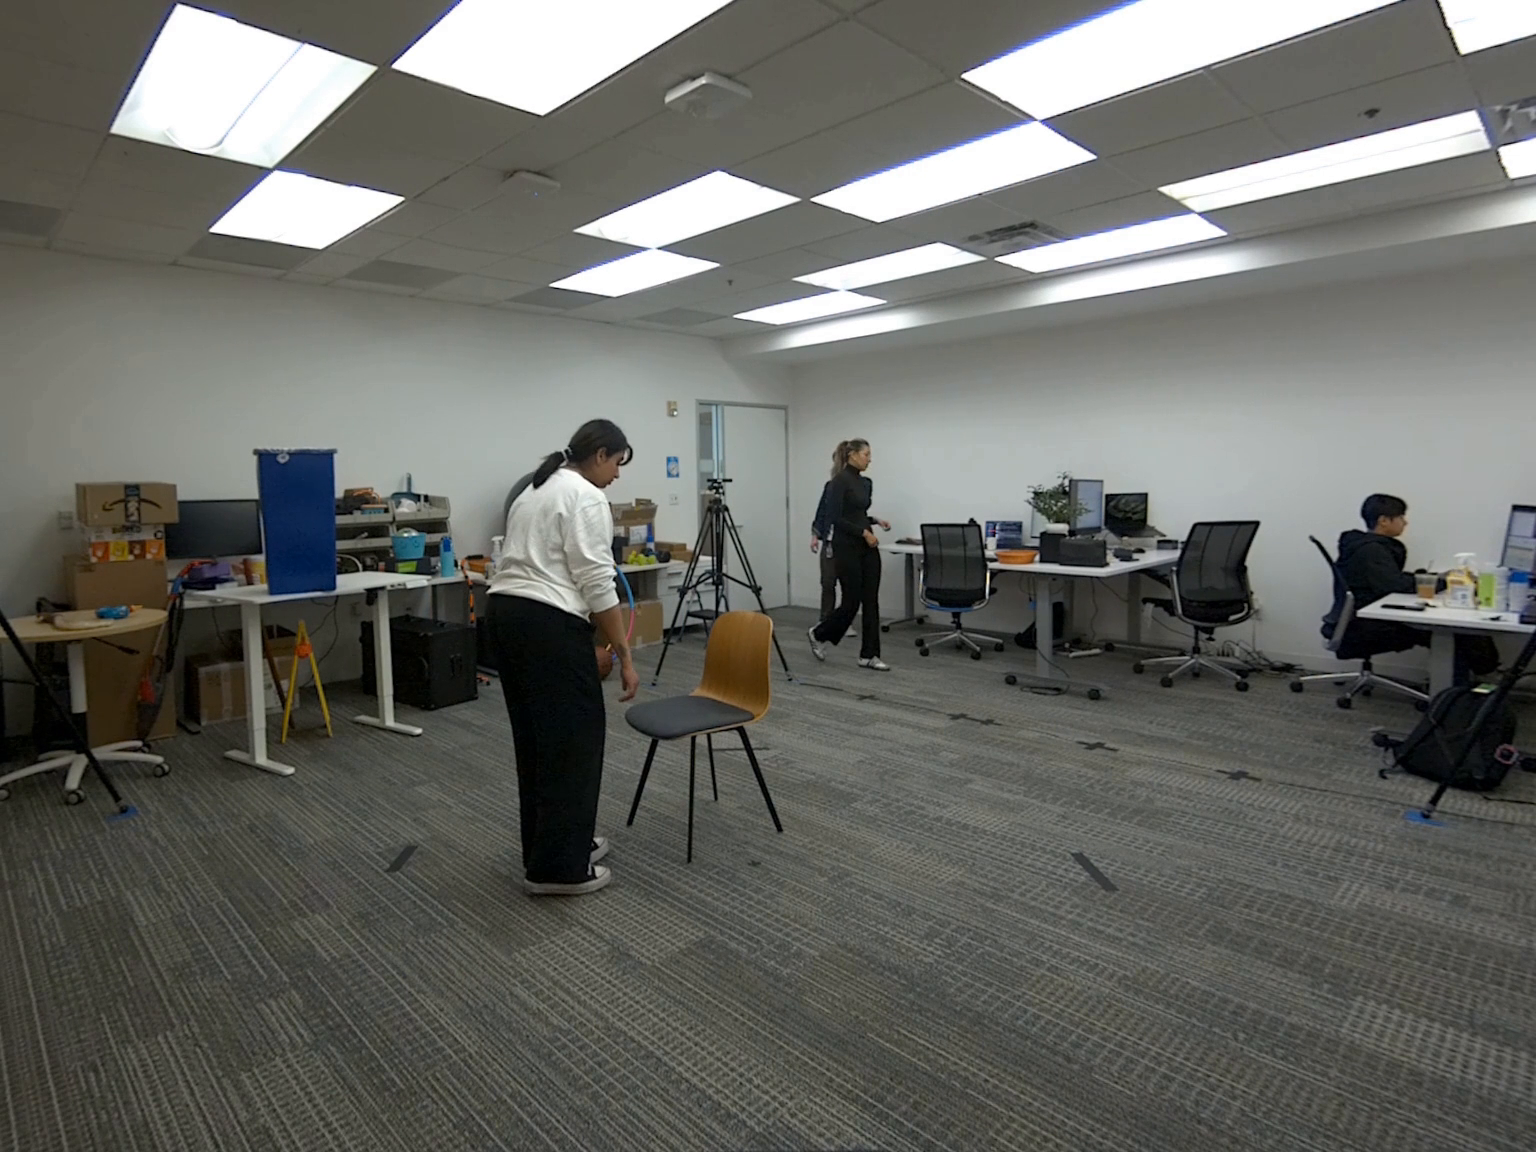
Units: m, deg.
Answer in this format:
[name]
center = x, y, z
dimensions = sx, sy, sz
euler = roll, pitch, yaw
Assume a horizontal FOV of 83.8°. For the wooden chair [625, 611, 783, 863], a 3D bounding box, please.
[wooden chair]
center = -0.267, 0.589, 3.395
dimensions = 0.508, 0.876, 0.492
euler = 1, 2, -38
